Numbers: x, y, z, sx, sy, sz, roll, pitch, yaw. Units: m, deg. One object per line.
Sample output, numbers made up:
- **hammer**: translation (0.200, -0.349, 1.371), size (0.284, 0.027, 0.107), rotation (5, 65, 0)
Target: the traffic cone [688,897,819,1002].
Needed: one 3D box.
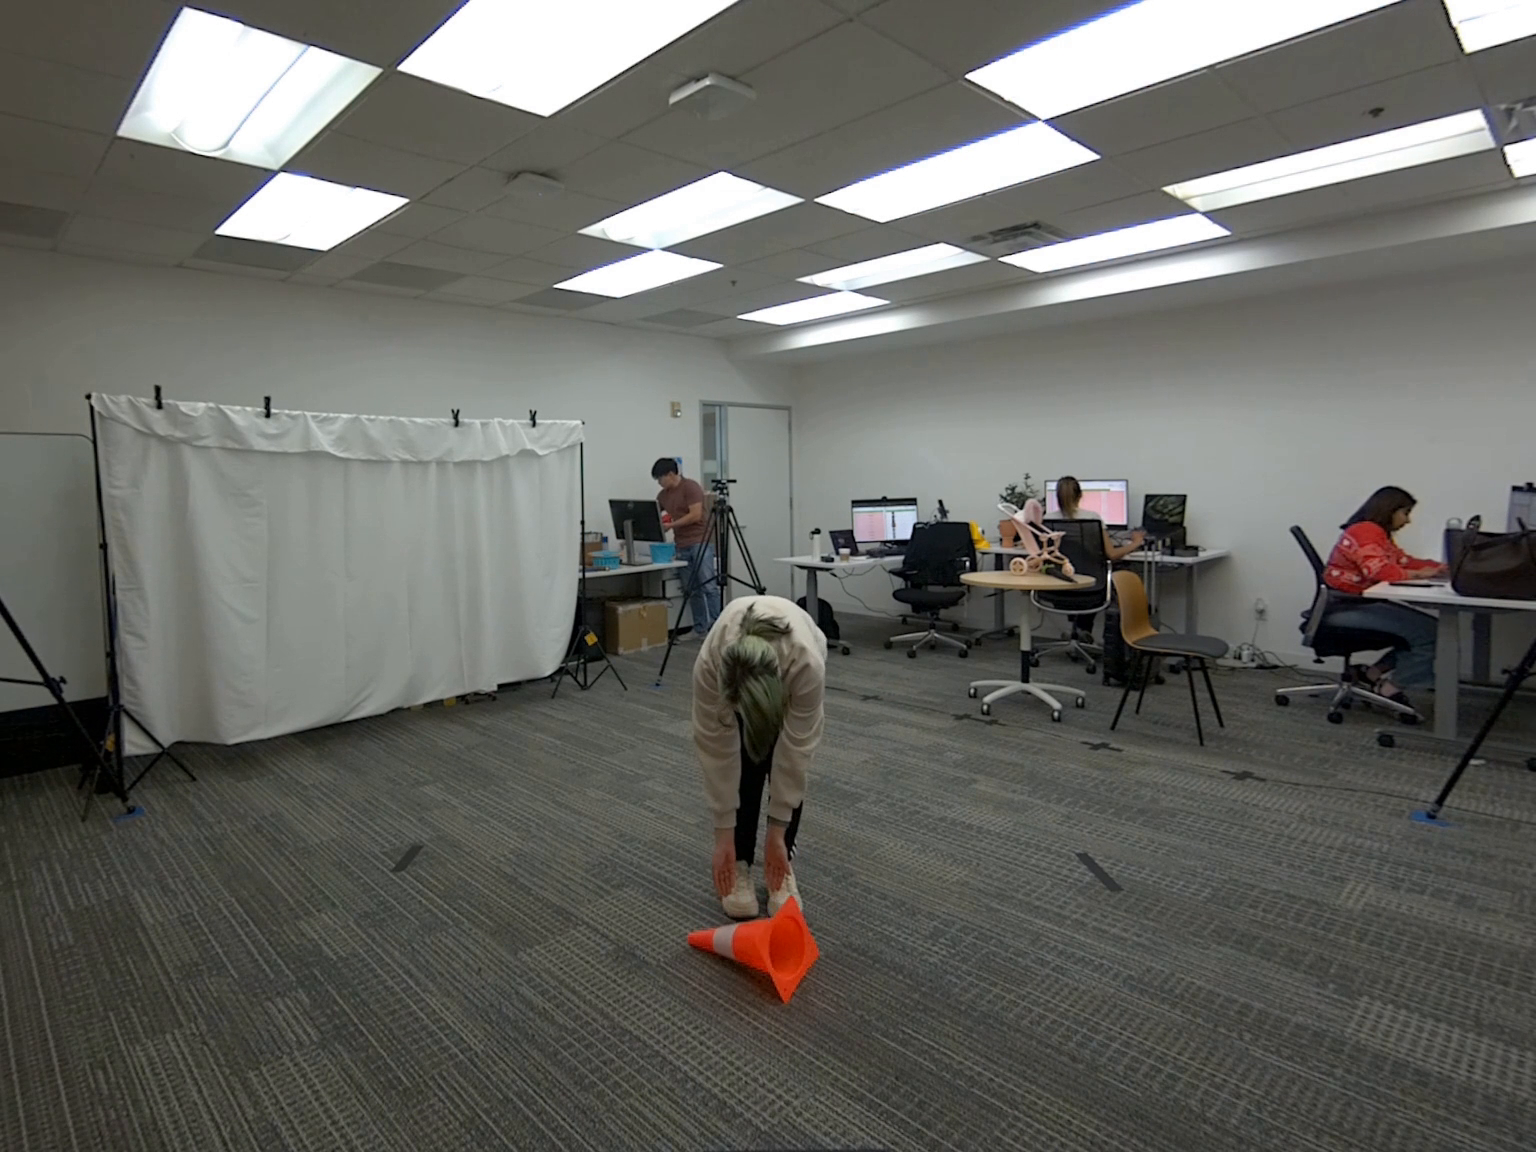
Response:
- **traffic cone**: translation (-0.082, 1.067, 2.473), size (0.391, 0.202, 0.202), rotation (-15, 9, 40)
